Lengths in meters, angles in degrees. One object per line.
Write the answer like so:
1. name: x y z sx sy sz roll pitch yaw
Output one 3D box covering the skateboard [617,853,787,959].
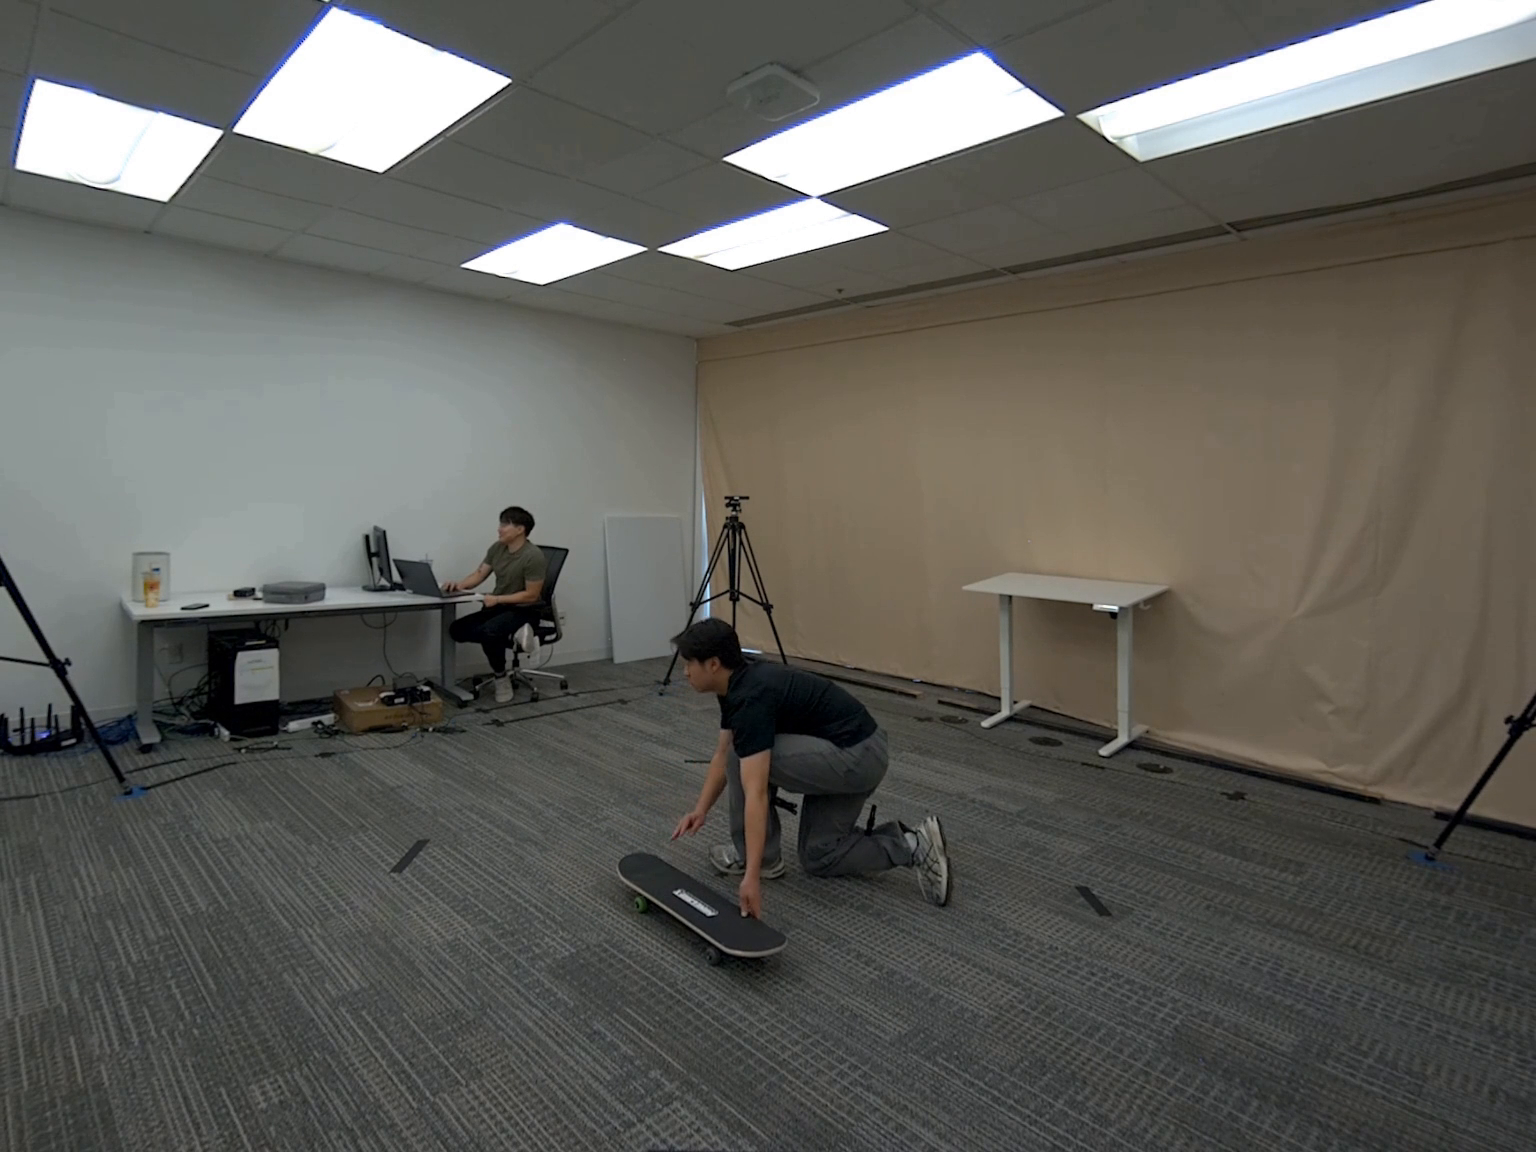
1. skateboard: -0.242 1.078 2.711 0.189 0.110 0.805 -2 6 -40
